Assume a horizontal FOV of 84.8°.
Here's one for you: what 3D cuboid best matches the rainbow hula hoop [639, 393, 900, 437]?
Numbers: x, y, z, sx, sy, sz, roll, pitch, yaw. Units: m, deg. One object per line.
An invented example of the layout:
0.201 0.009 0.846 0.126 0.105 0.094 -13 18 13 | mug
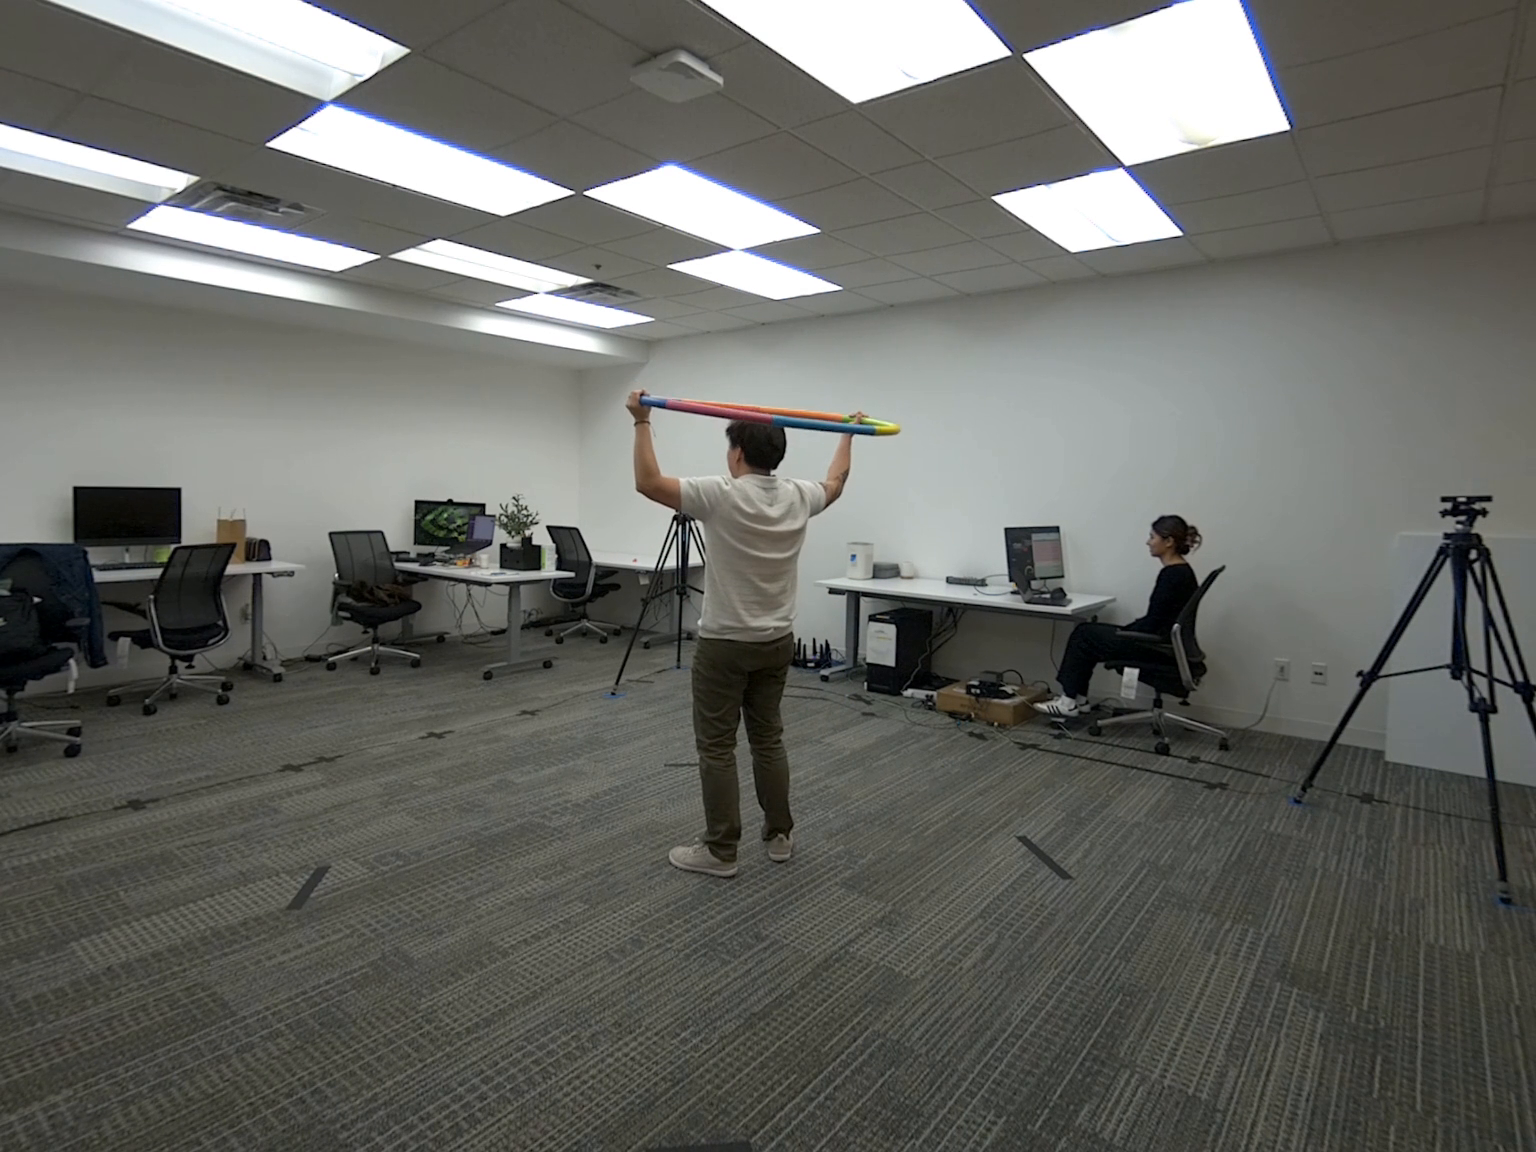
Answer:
-0.014 -0.600 3.118 0.977 0.035 0.990 5 12 -3 | rainbow hula hoop
